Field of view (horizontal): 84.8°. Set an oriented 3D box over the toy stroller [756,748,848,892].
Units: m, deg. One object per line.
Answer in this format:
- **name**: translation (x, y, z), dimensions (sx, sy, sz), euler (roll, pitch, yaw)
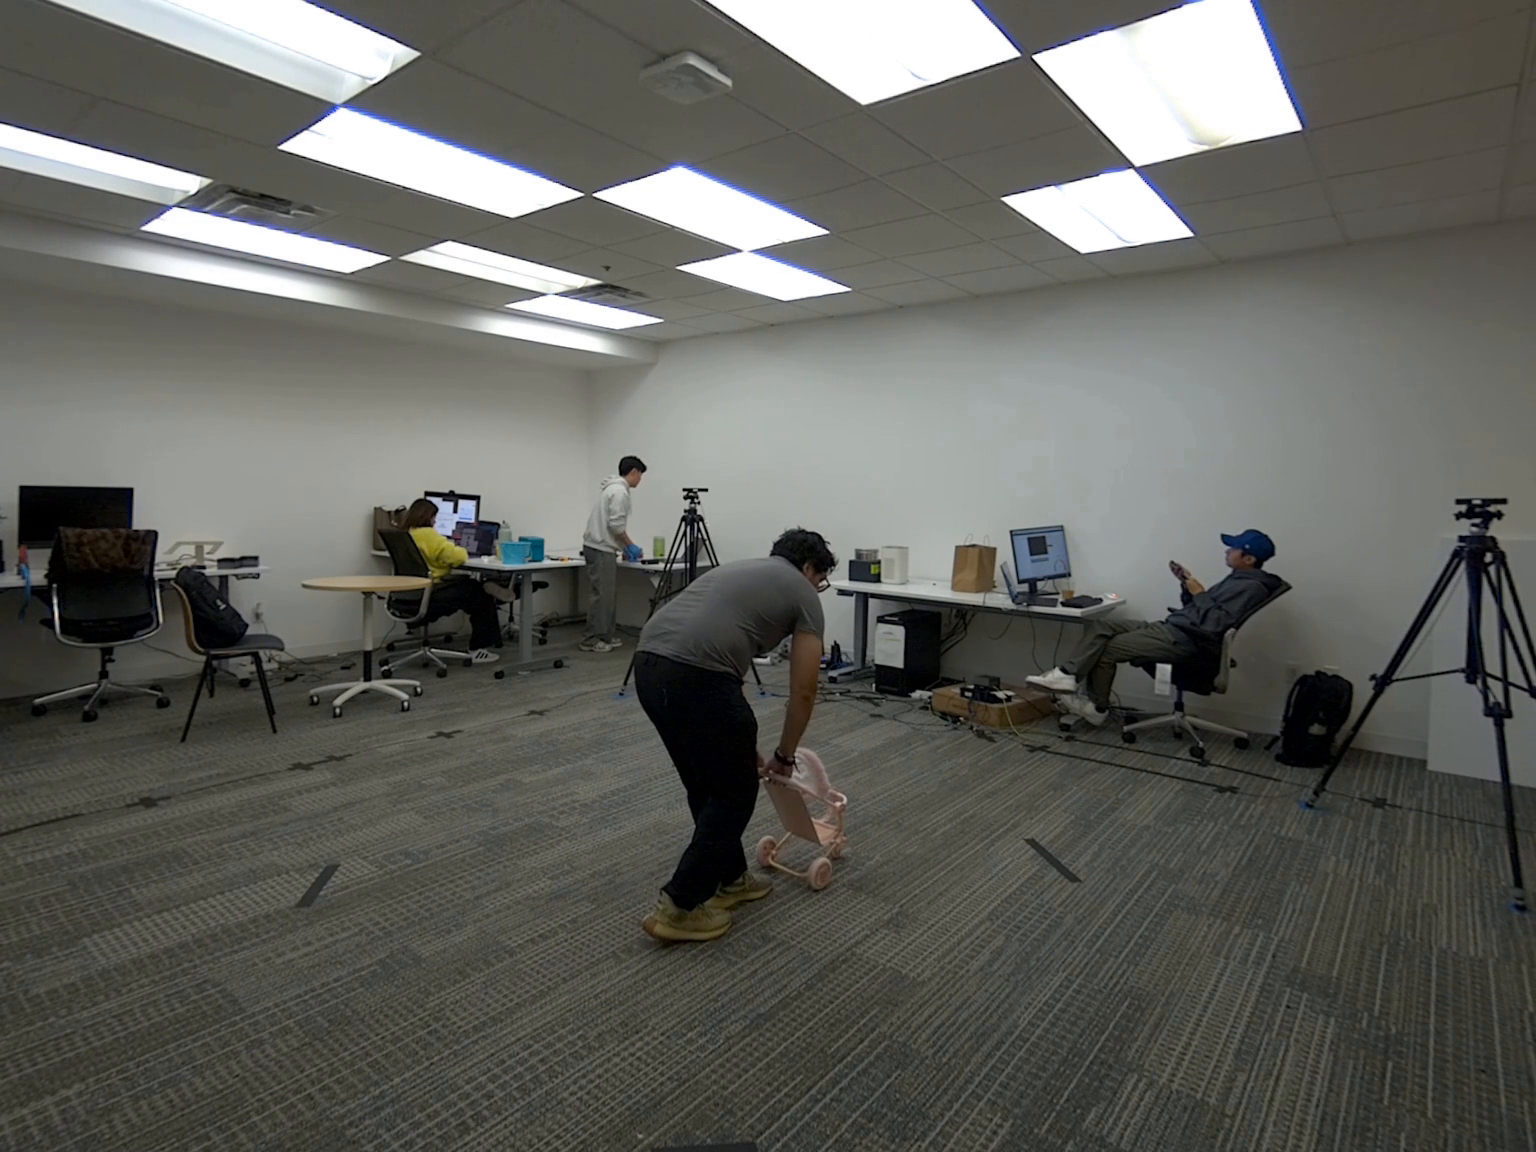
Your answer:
- **toy stroller**: translation (0.128, 0.851, 3.091), dimensions (0.335, 0.526, 0.291), euler (-23, 19, -39)
